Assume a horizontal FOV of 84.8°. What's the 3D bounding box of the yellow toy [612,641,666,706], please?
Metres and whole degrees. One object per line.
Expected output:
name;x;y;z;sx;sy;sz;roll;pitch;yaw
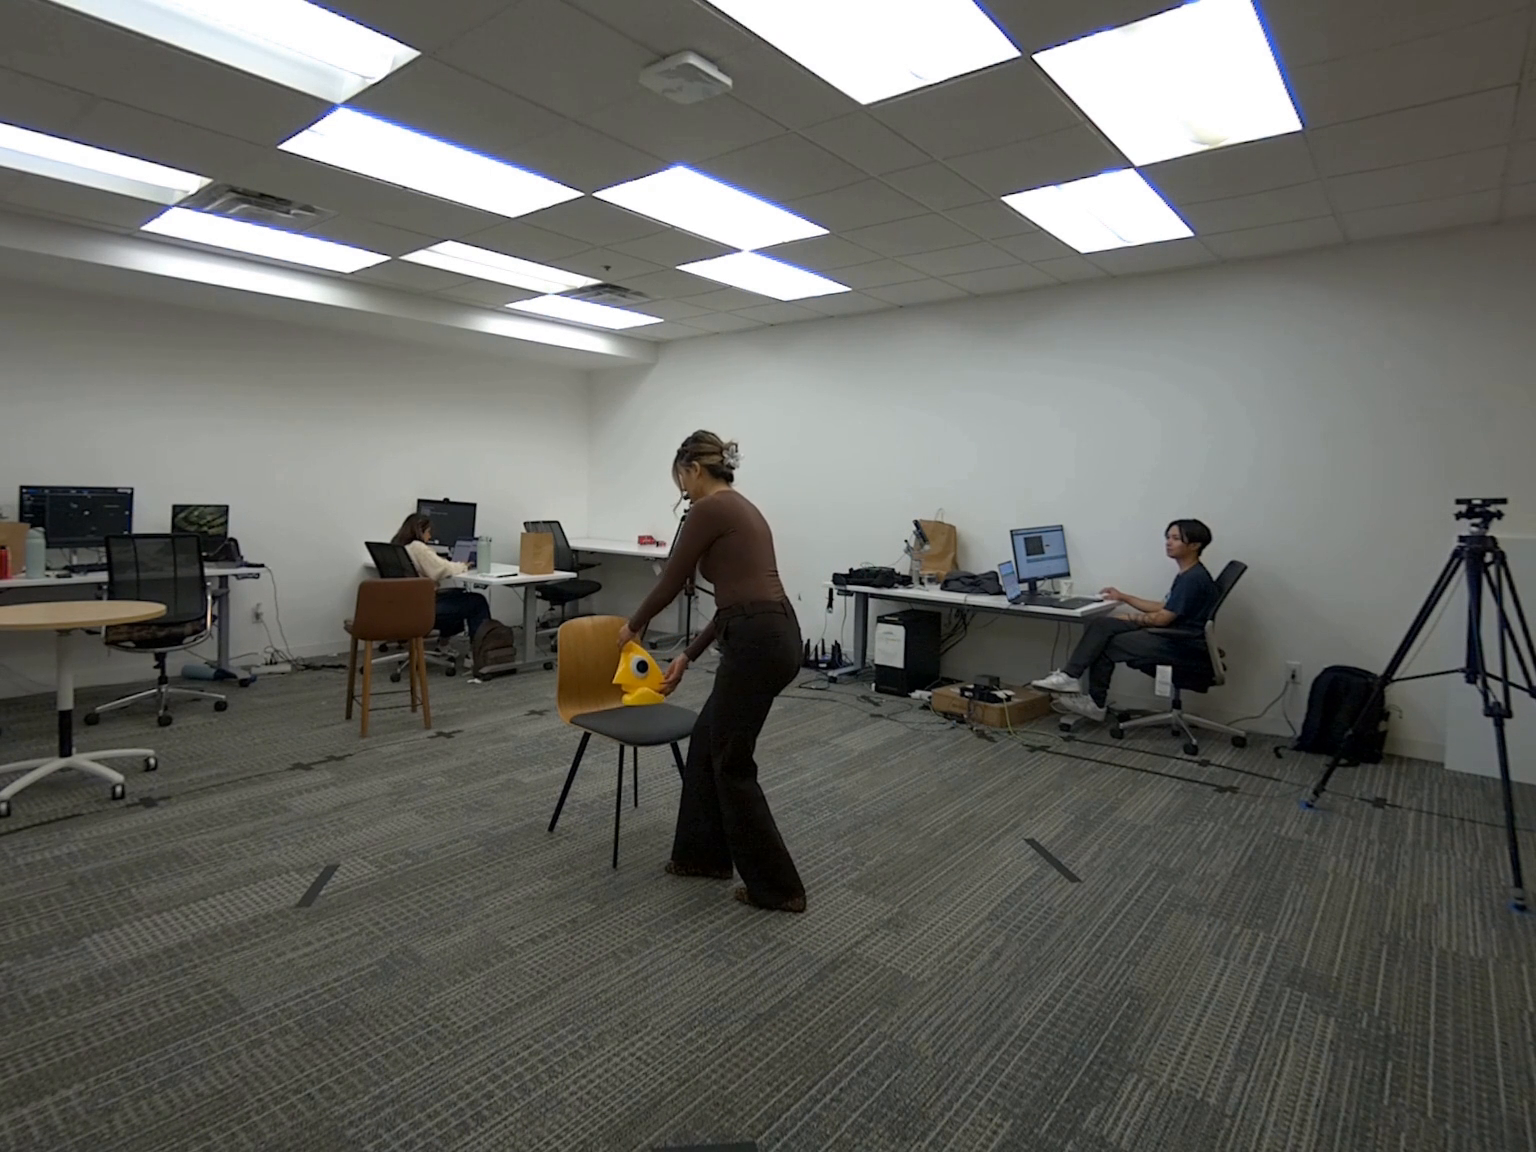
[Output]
yellow toy;-0.475;0.339;3.118;0.193;0.231;0.204;-3;-1;-1
